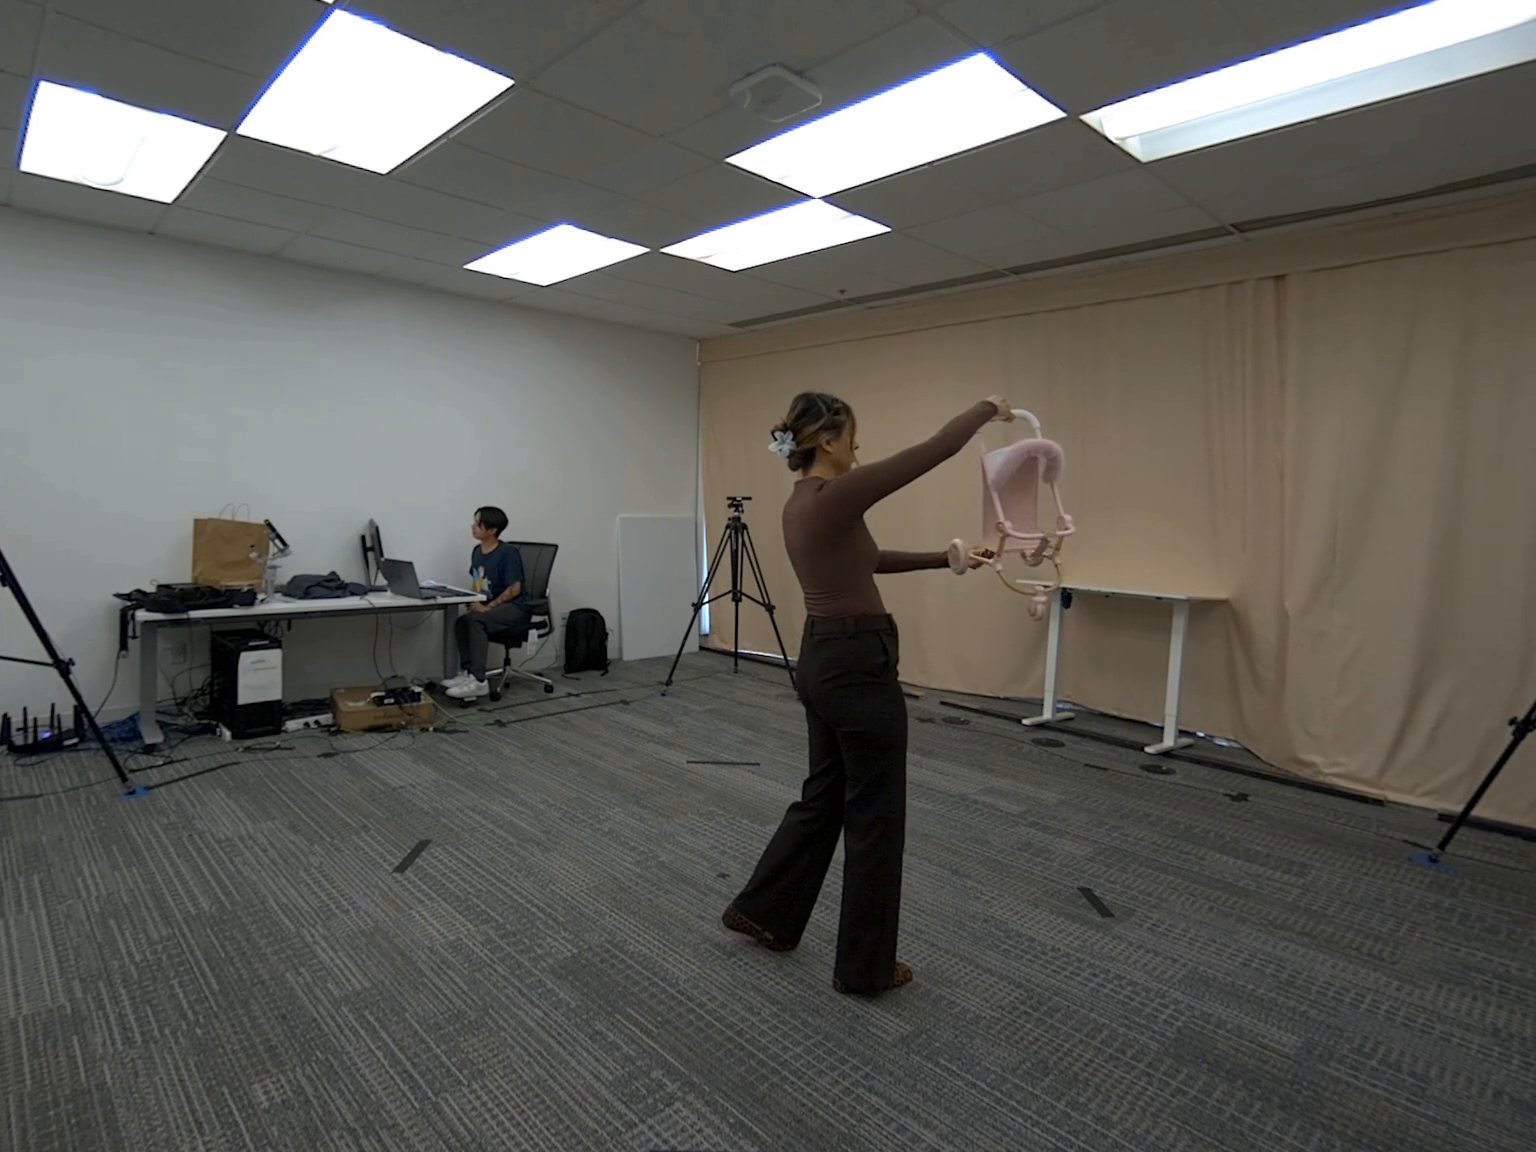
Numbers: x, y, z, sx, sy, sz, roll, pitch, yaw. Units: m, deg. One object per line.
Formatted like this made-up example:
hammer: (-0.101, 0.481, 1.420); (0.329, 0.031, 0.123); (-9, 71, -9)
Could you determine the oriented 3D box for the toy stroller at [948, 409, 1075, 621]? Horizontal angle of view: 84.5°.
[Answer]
toy stroller: (0.712, -0.171, 2.402); (0.279, 0.528, 0.349); (-2, 20, -11)
